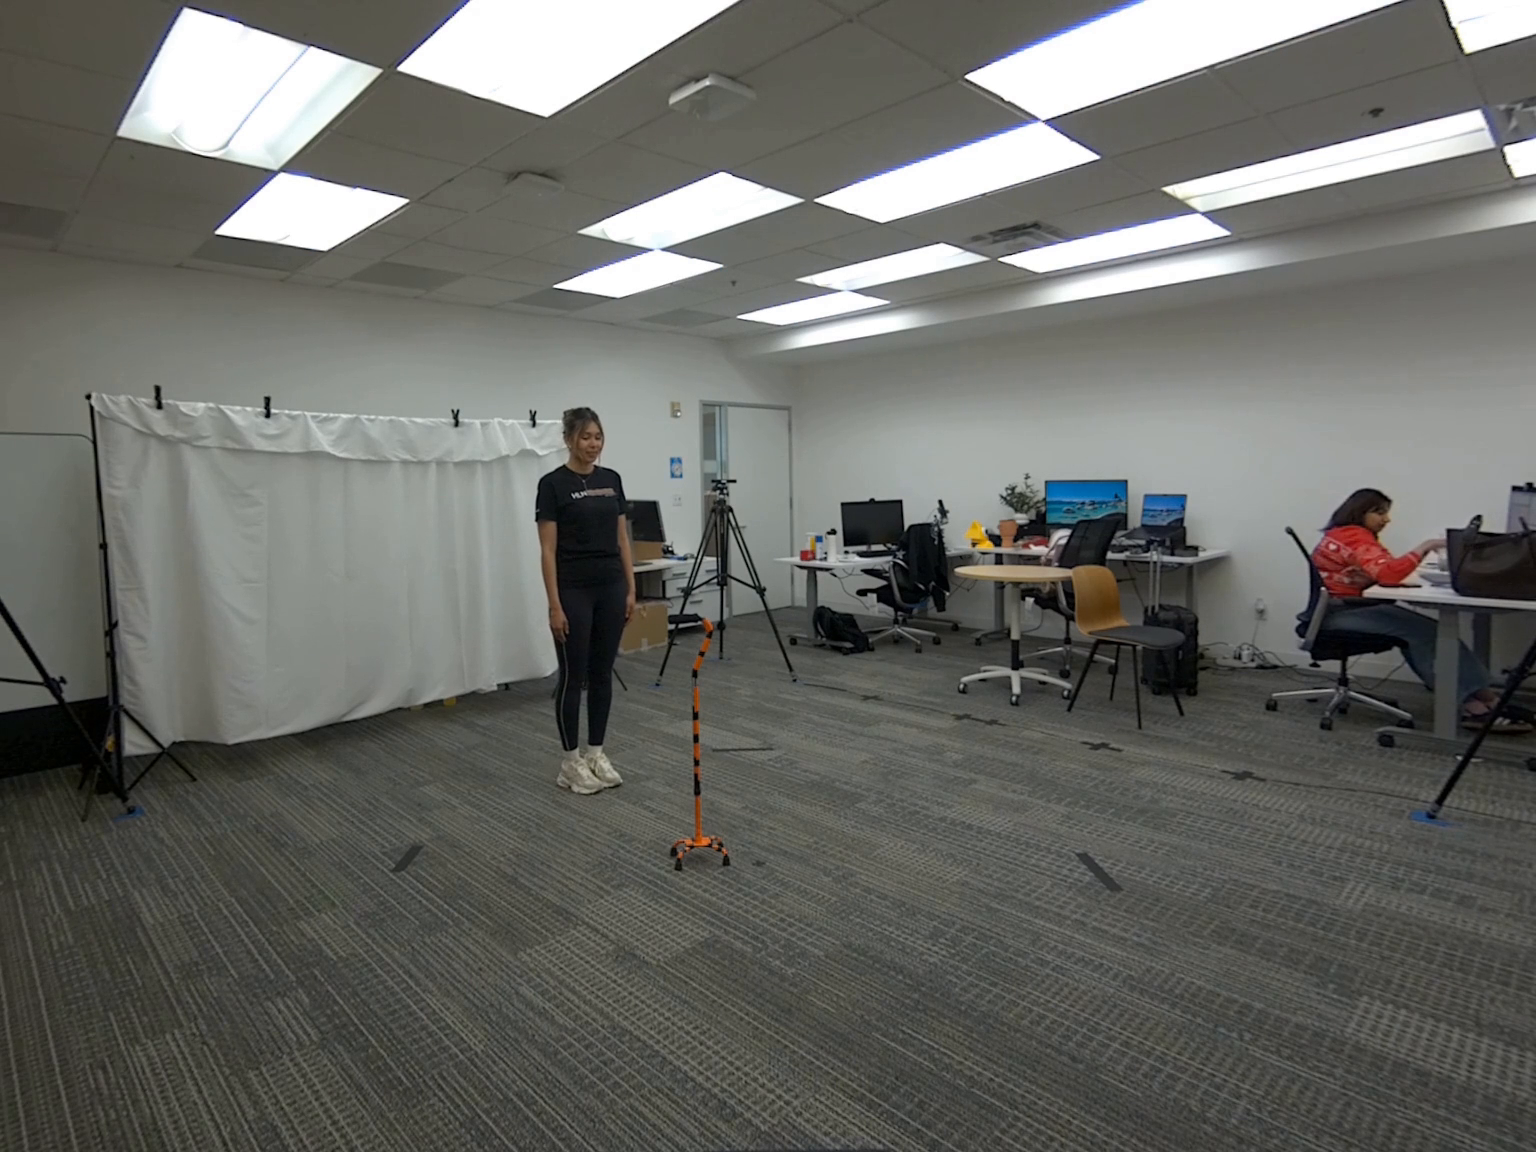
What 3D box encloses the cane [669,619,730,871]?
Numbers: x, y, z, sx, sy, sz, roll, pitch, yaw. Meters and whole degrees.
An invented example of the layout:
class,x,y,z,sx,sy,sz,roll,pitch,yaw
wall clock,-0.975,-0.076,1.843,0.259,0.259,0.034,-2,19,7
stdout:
class,x,y,z,sx,sy,sz,roll,pitch,yaw
cane,-0.258,0.596,3.124,0.204,0.905,0.154,-2,3,-13
